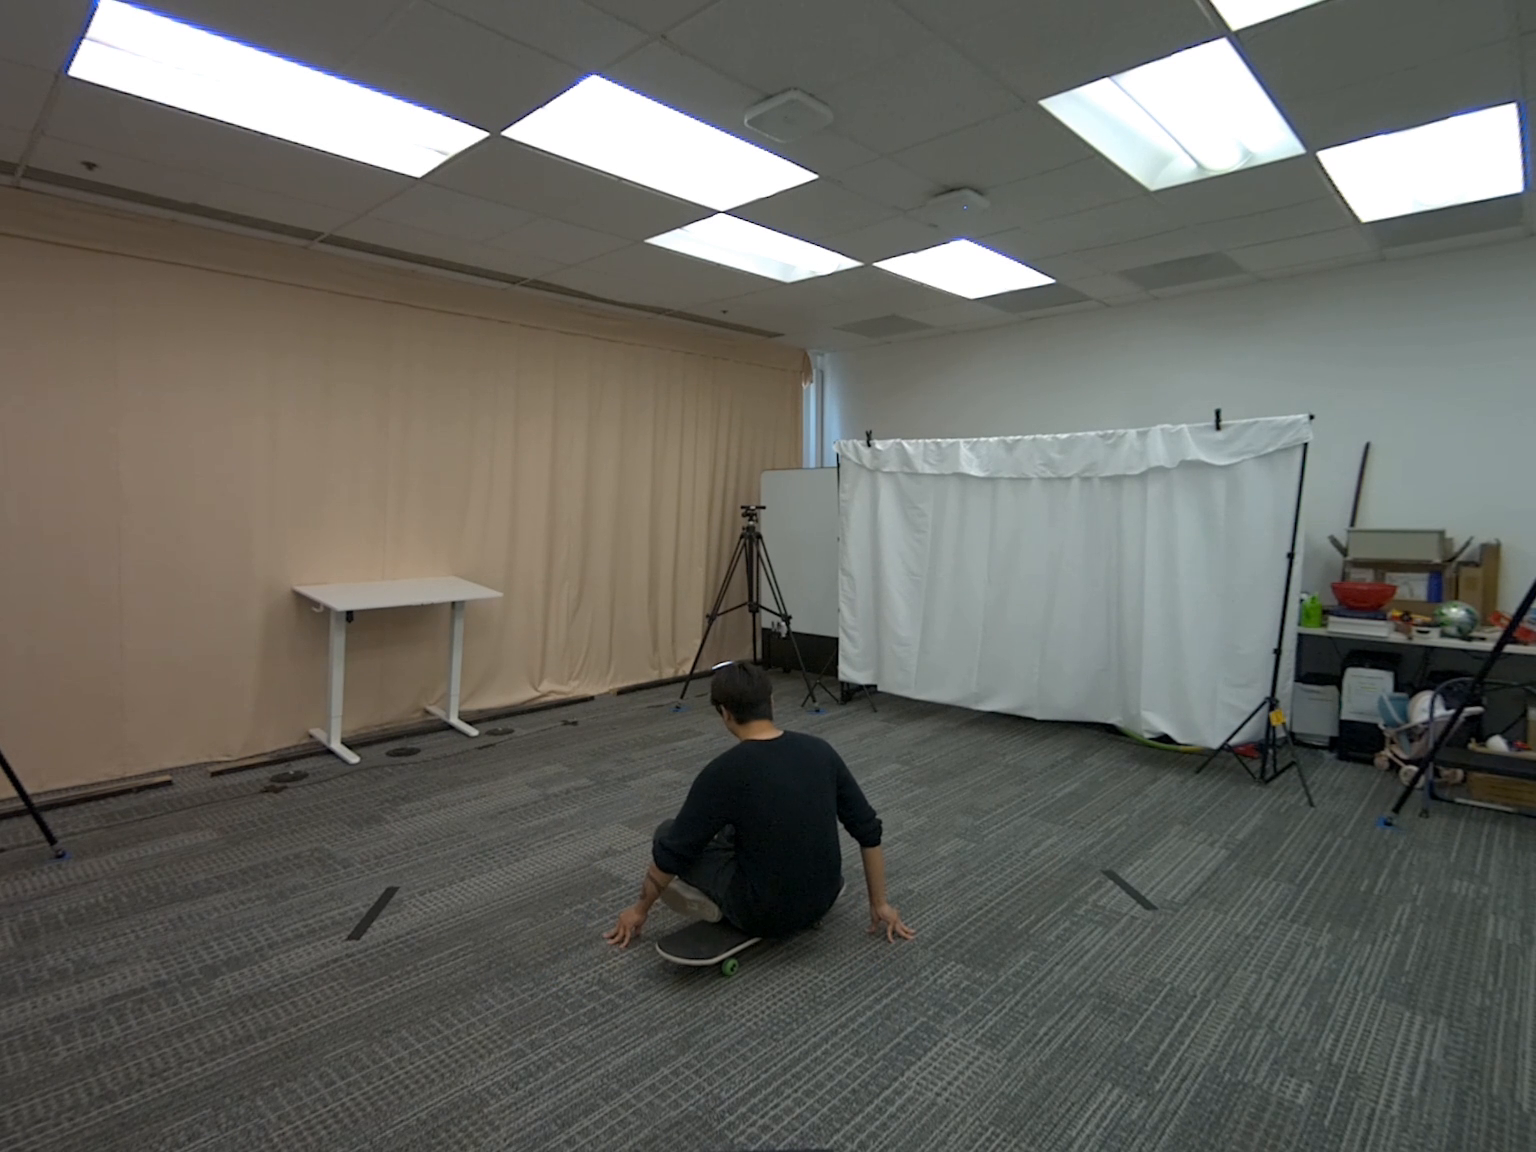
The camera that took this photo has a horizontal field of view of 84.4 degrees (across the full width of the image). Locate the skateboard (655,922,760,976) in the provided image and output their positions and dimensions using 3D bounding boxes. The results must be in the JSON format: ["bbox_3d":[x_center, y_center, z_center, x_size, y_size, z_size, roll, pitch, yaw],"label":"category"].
[{"bbox_3d":[-0.046,1.122,2.703,0.200,0.110,0.762,4,6,41],"label":"skateboard"}]
